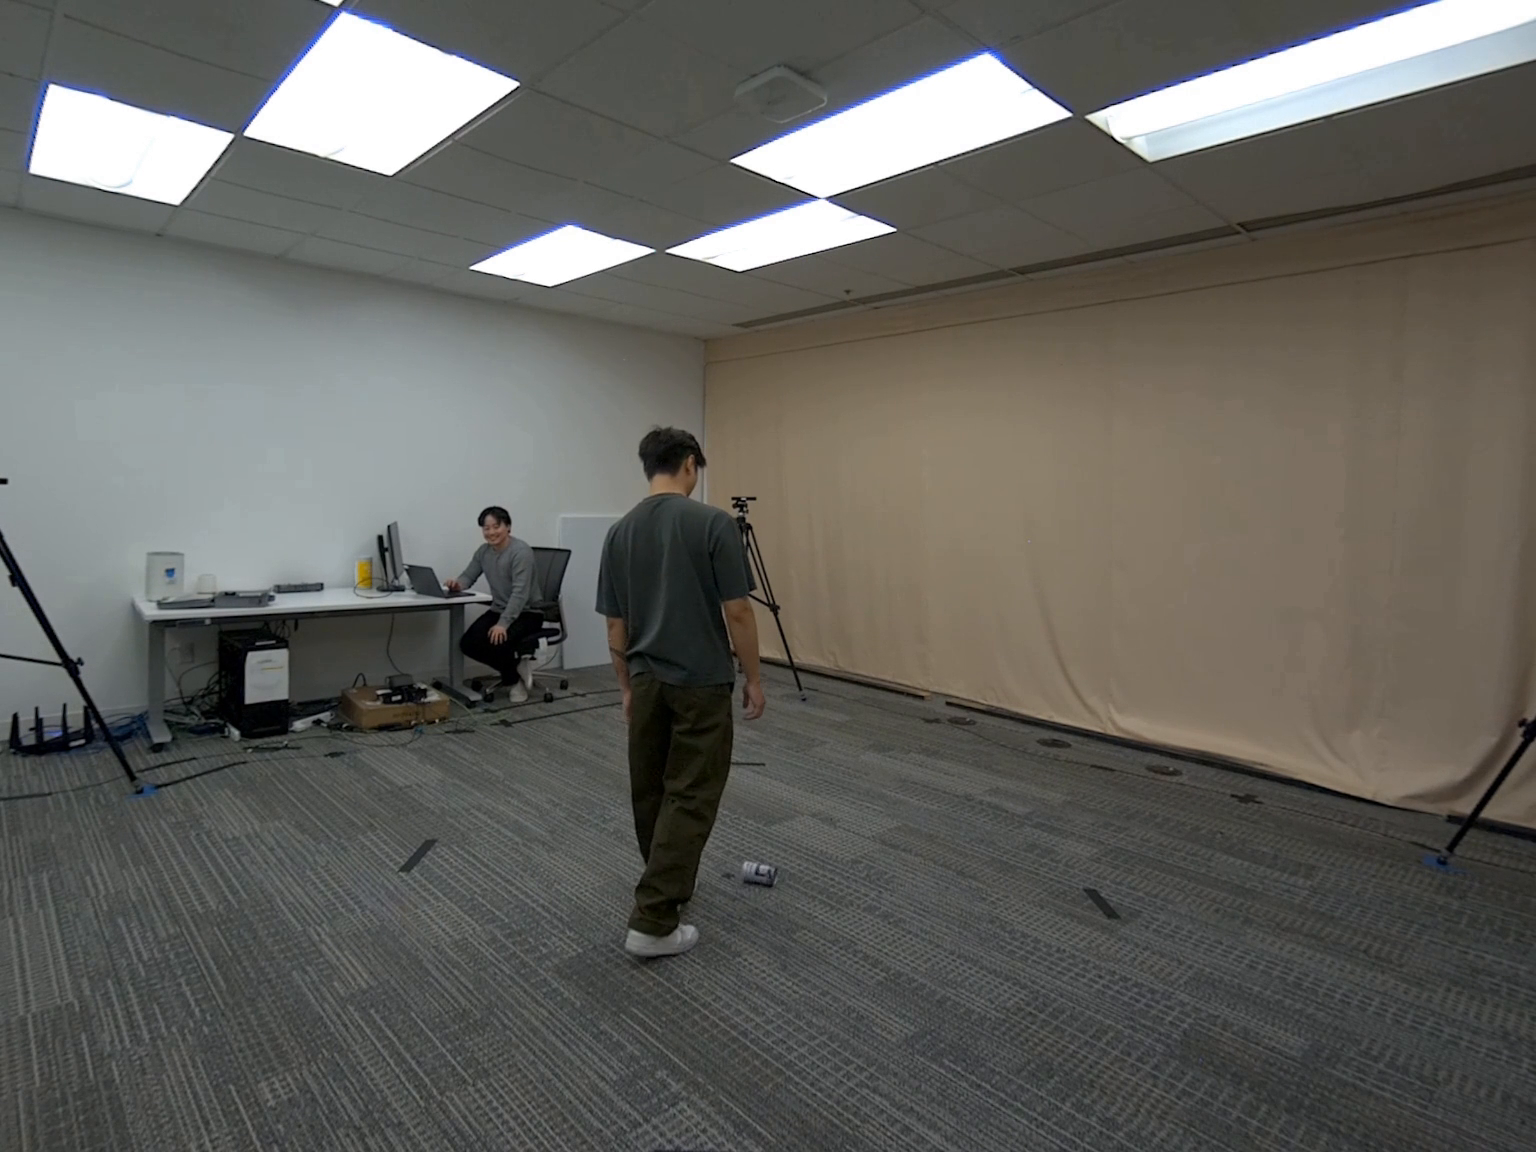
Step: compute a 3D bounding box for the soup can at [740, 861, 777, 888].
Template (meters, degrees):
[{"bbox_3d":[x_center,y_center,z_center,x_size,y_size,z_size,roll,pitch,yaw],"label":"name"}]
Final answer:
[{"bbox_3d":[-0.037,1.078,3.050,0.123,0.067,0.066,6,5,18],"label":"soup can"}]
